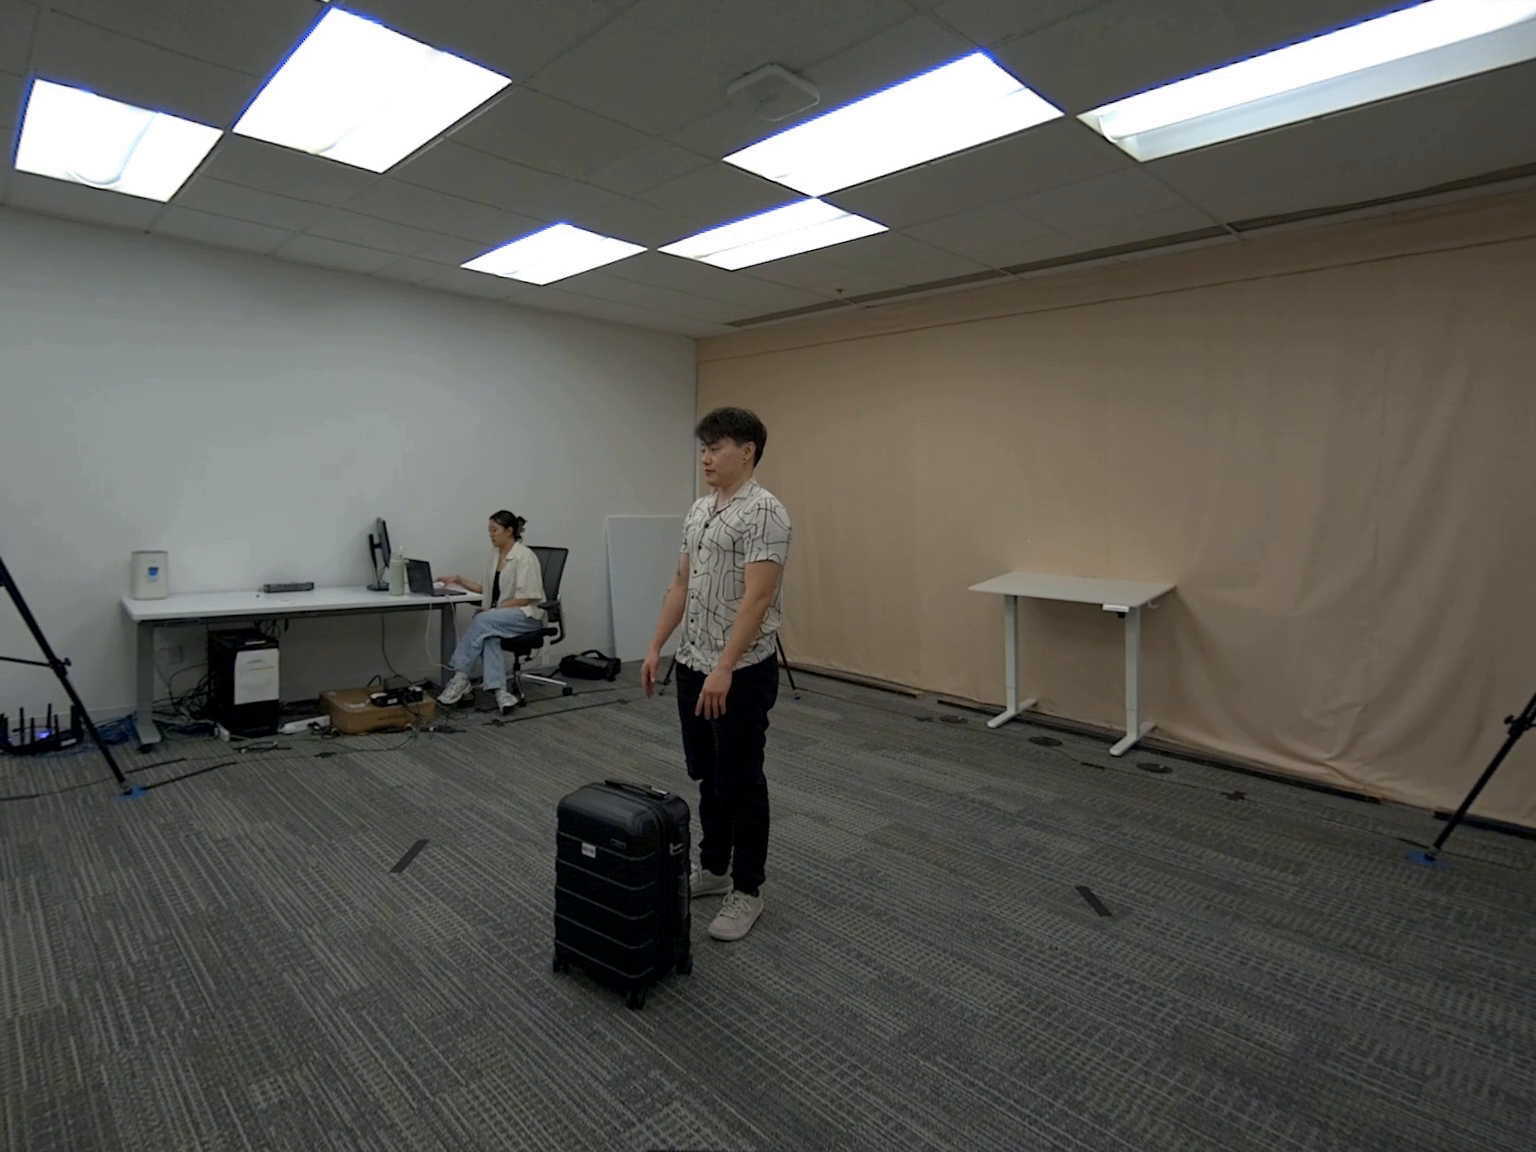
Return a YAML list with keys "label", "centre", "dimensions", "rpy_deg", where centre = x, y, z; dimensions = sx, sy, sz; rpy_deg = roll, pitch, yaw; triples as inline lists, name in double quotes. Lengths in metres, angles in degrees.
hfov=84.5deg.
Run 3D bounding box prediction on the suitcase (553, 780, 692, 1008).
- label: "suitcase"
  centre: [-0.428, 0.887, 2.419]
  dimensions: [0.385, 0.547, 0.243]
  rpy_deg: [5, 6, 37]
